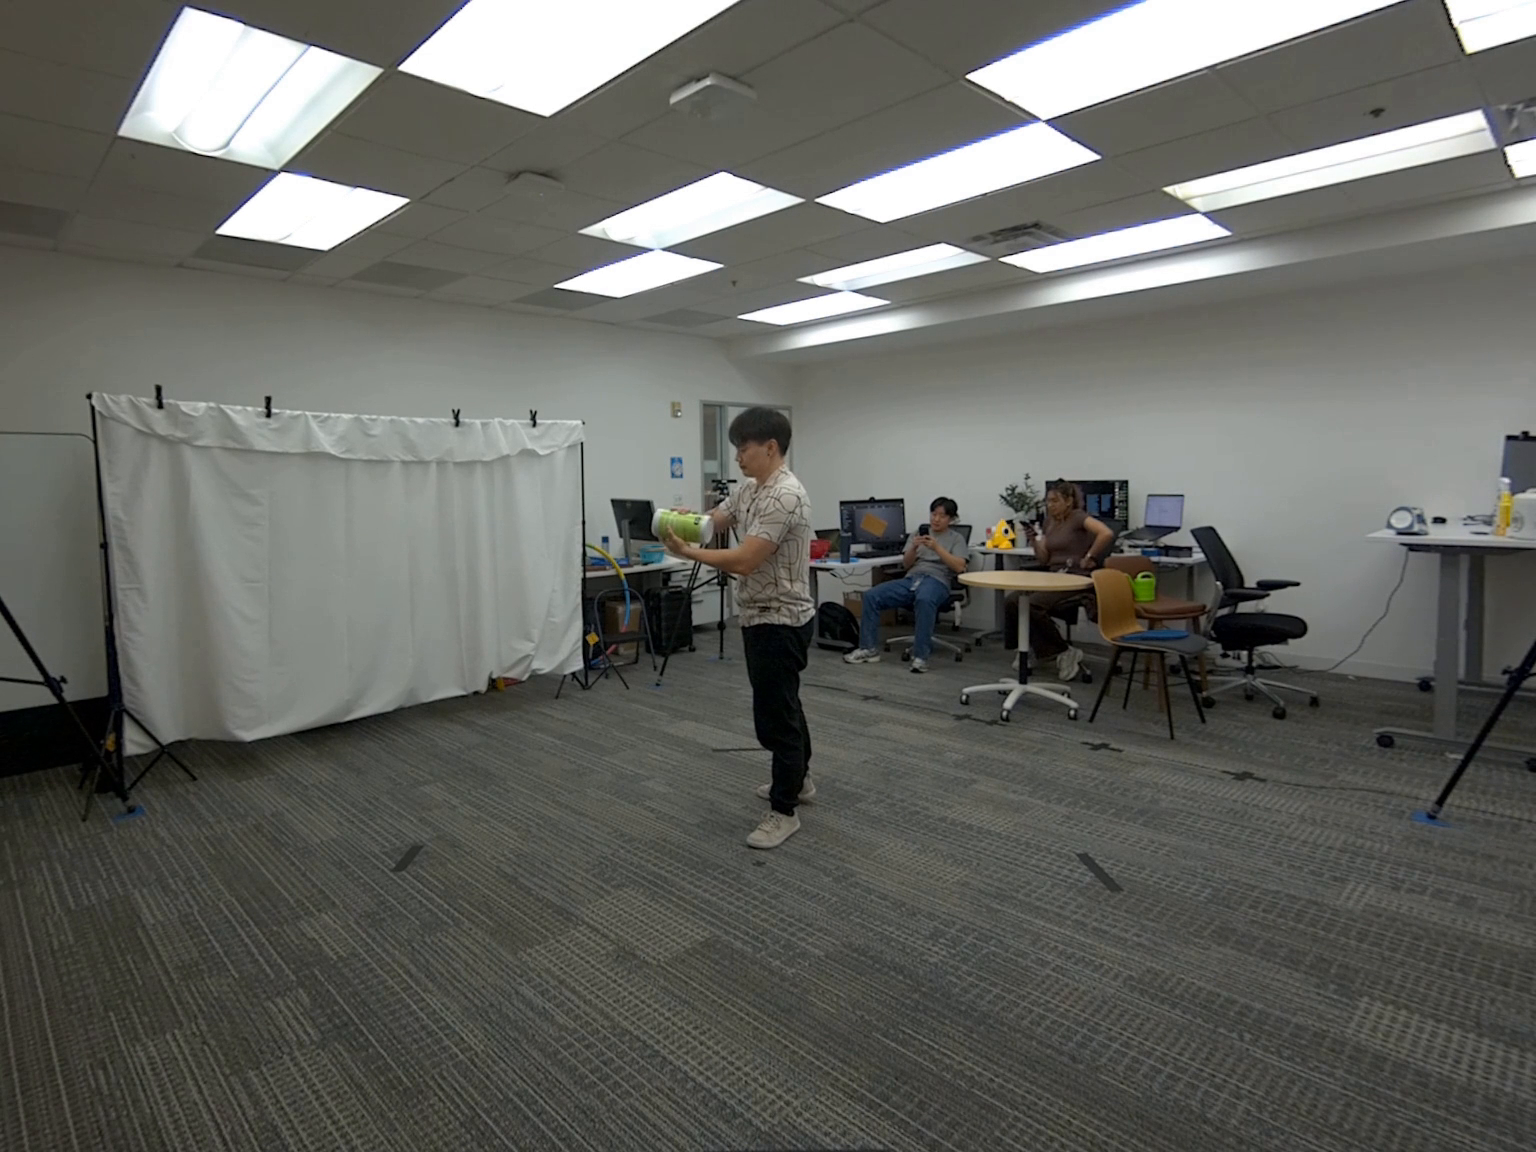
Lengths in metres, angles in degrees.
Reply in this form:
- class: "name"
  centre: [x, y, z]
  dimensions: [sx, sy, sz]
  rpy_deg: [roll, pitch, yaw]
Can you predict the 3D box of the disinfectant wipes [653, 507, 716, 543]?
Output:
- class: "disinfectant wipes"
  centre: [-0.317, -0.199, 3.264]
  dimensions: [0.219, 0.117, 0.117]
  rpy_deg: [3, 5, 7]
